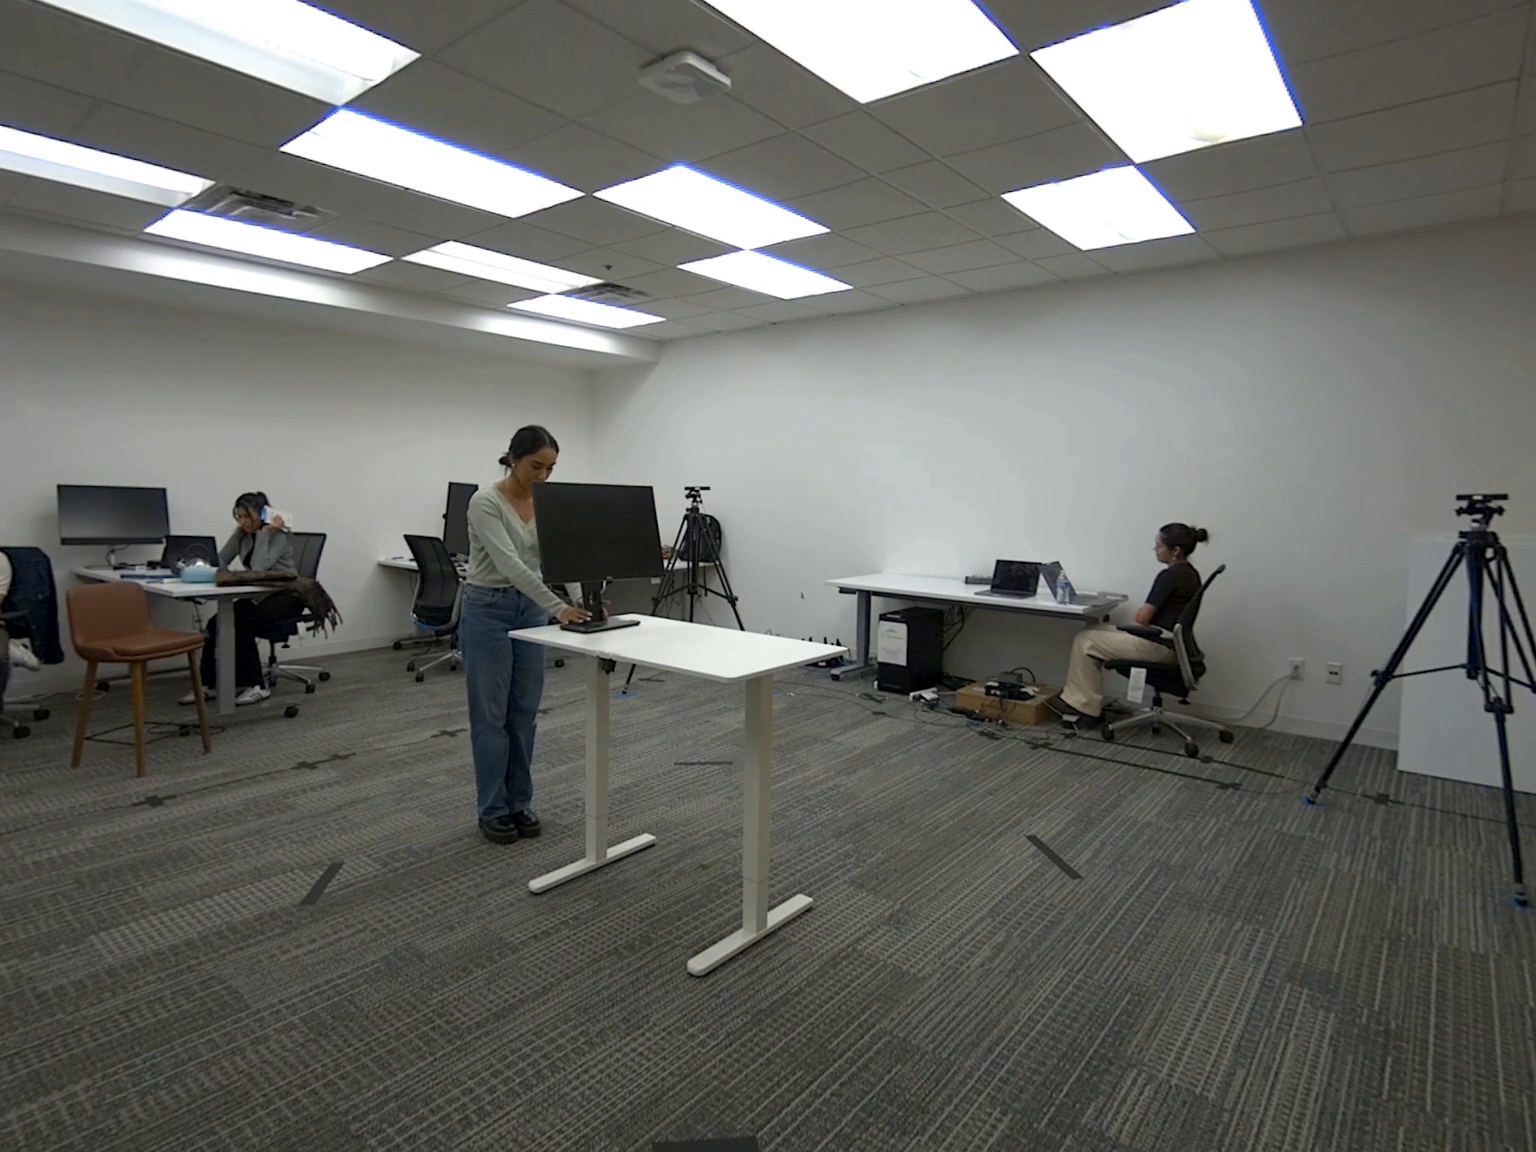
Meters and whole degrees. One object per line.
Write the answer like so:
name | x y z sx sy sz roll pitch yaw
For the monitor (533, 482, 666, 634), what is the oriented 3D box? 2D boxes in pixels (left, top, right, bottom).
monitor | -0.636 -0.071 3.047 0.193 0.522 0.523 1 2 41
